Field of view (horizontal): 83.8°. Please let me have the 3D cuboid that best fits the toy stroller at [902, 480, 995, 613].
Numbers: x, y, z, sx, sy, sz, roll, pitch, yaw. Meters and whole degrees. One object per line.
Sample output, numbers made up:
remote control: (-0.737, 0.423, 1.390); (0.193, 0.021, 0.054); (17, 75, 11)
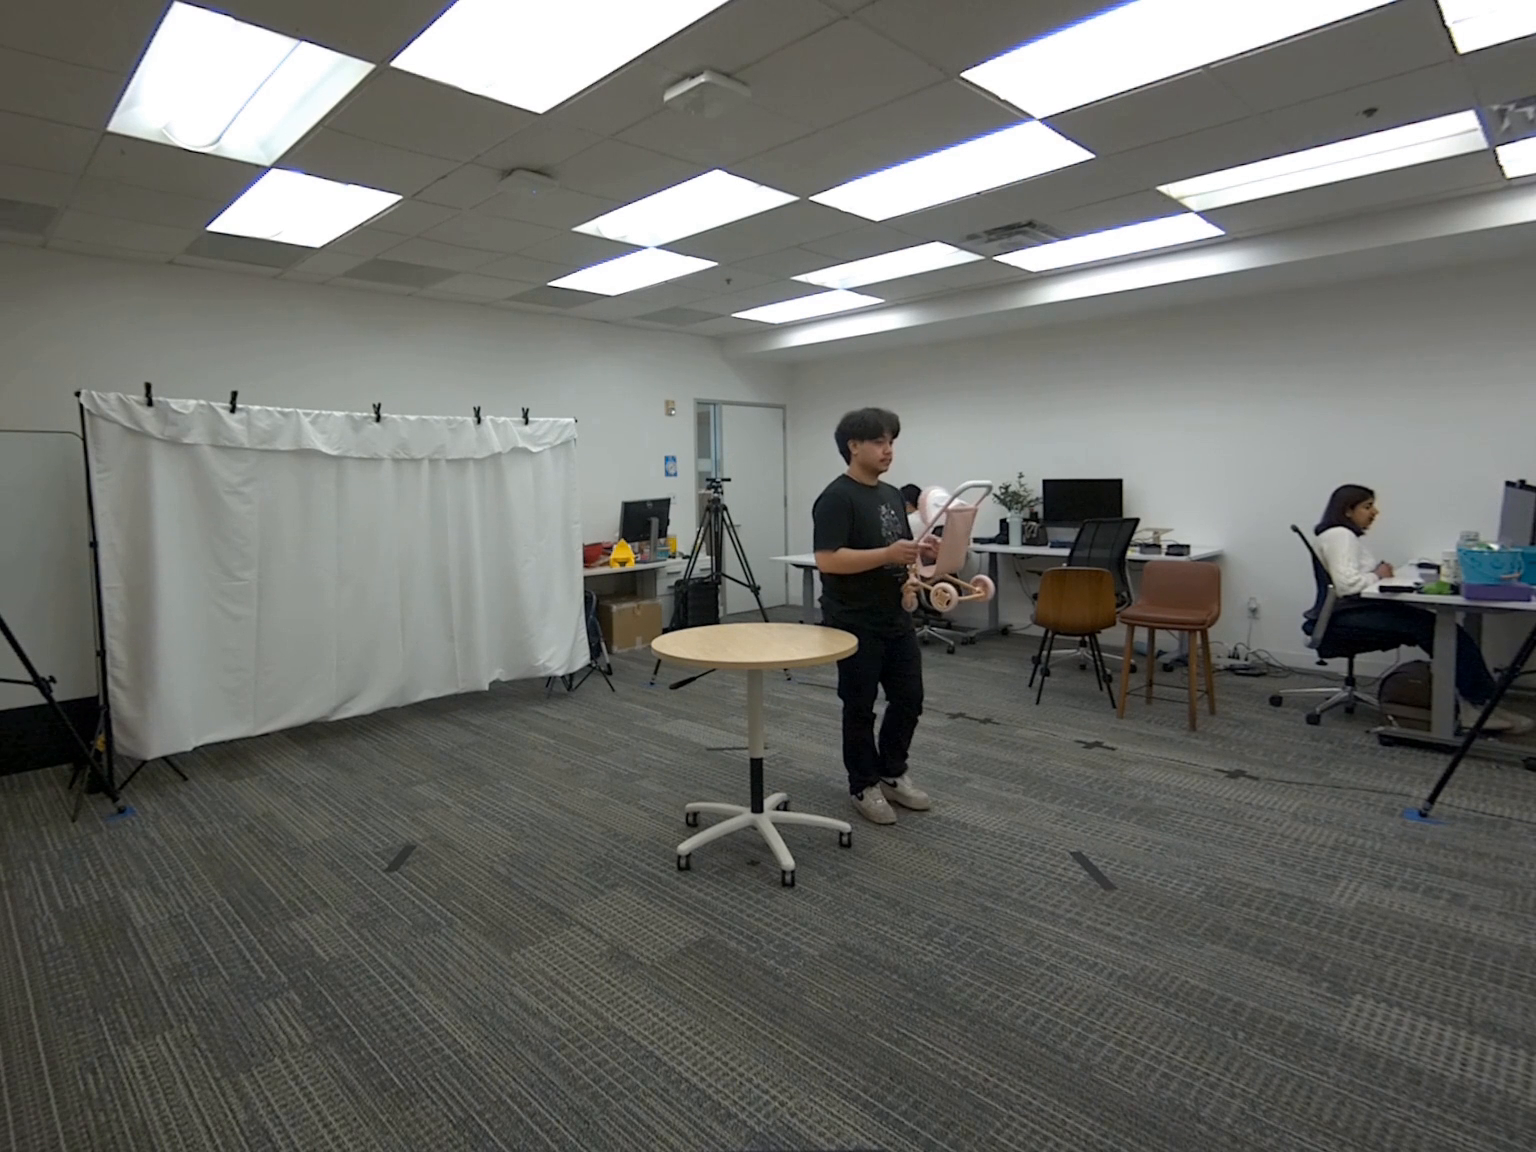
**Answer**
toy stroller: (0.663, -0.102, 3.252); (0.274, 0.531, 0.352); (-7, 11, -38)
